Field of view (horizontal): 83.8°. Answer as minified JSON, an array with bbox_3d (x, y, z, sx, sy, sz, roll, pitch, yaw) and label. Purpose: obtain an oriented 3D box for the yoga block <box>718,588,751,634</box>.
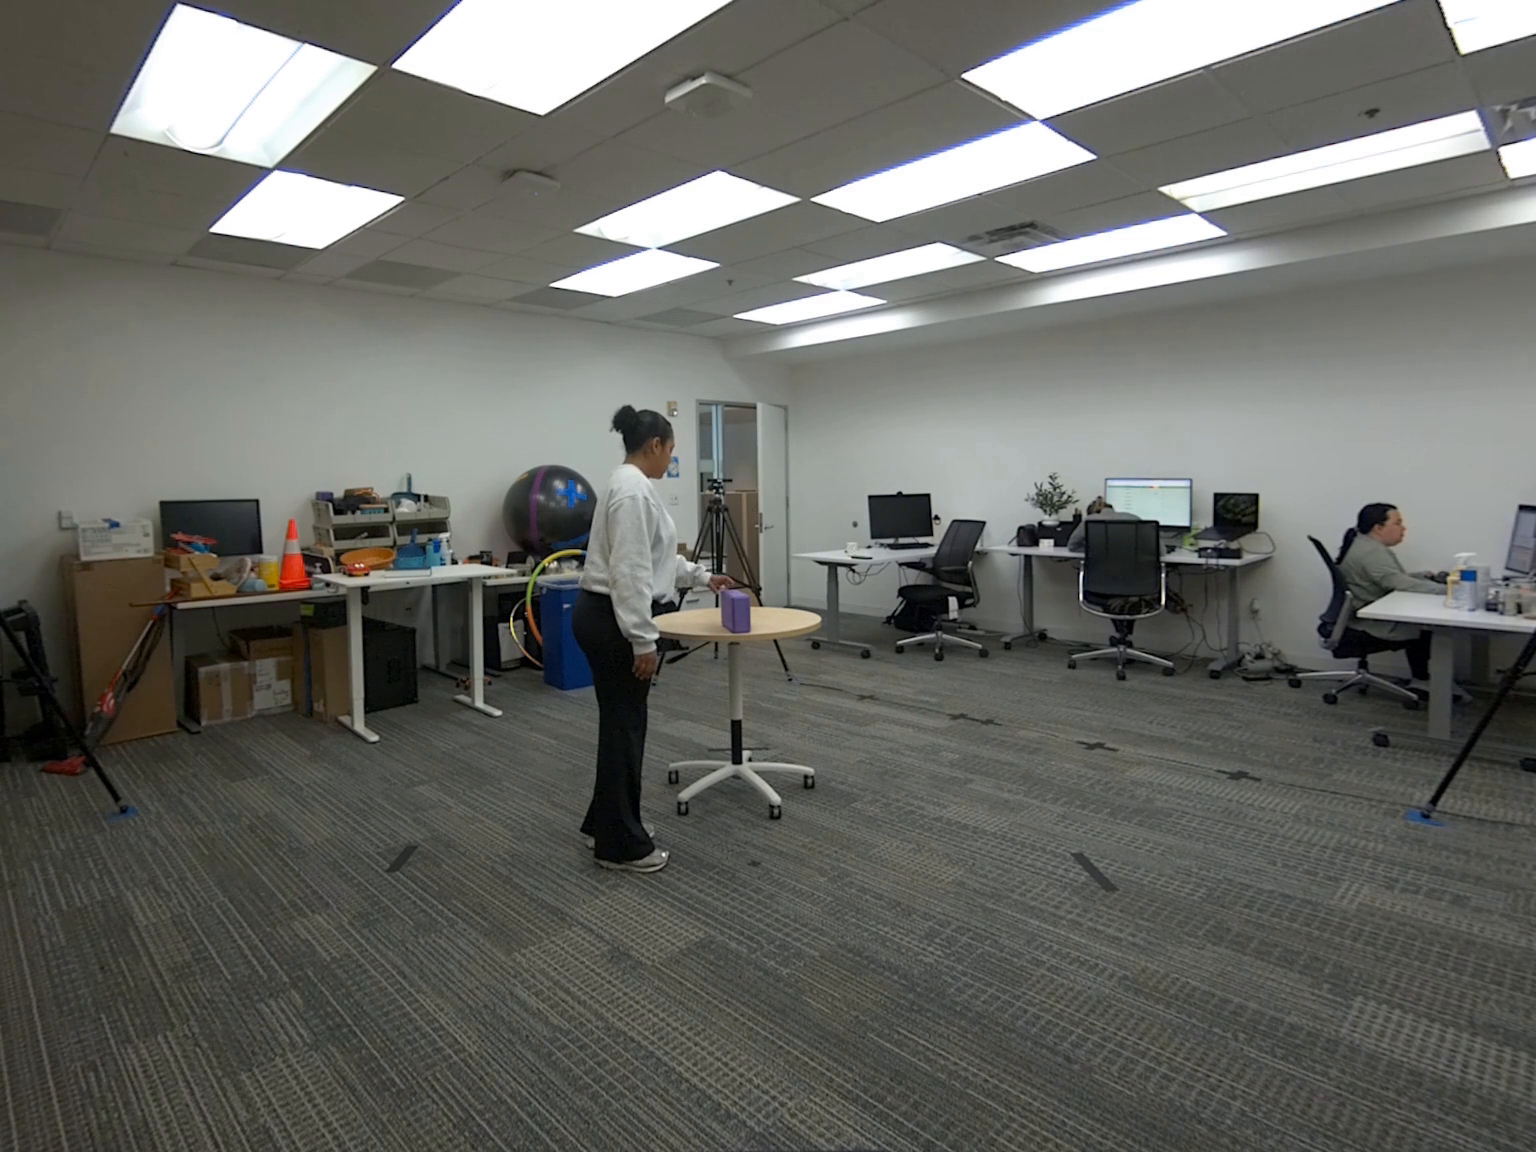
[{"bbox_3d":[-0.131,0.144,3.514,0.075,0.148,0.233,-1,5,-13],"label":"yoga block"}]
